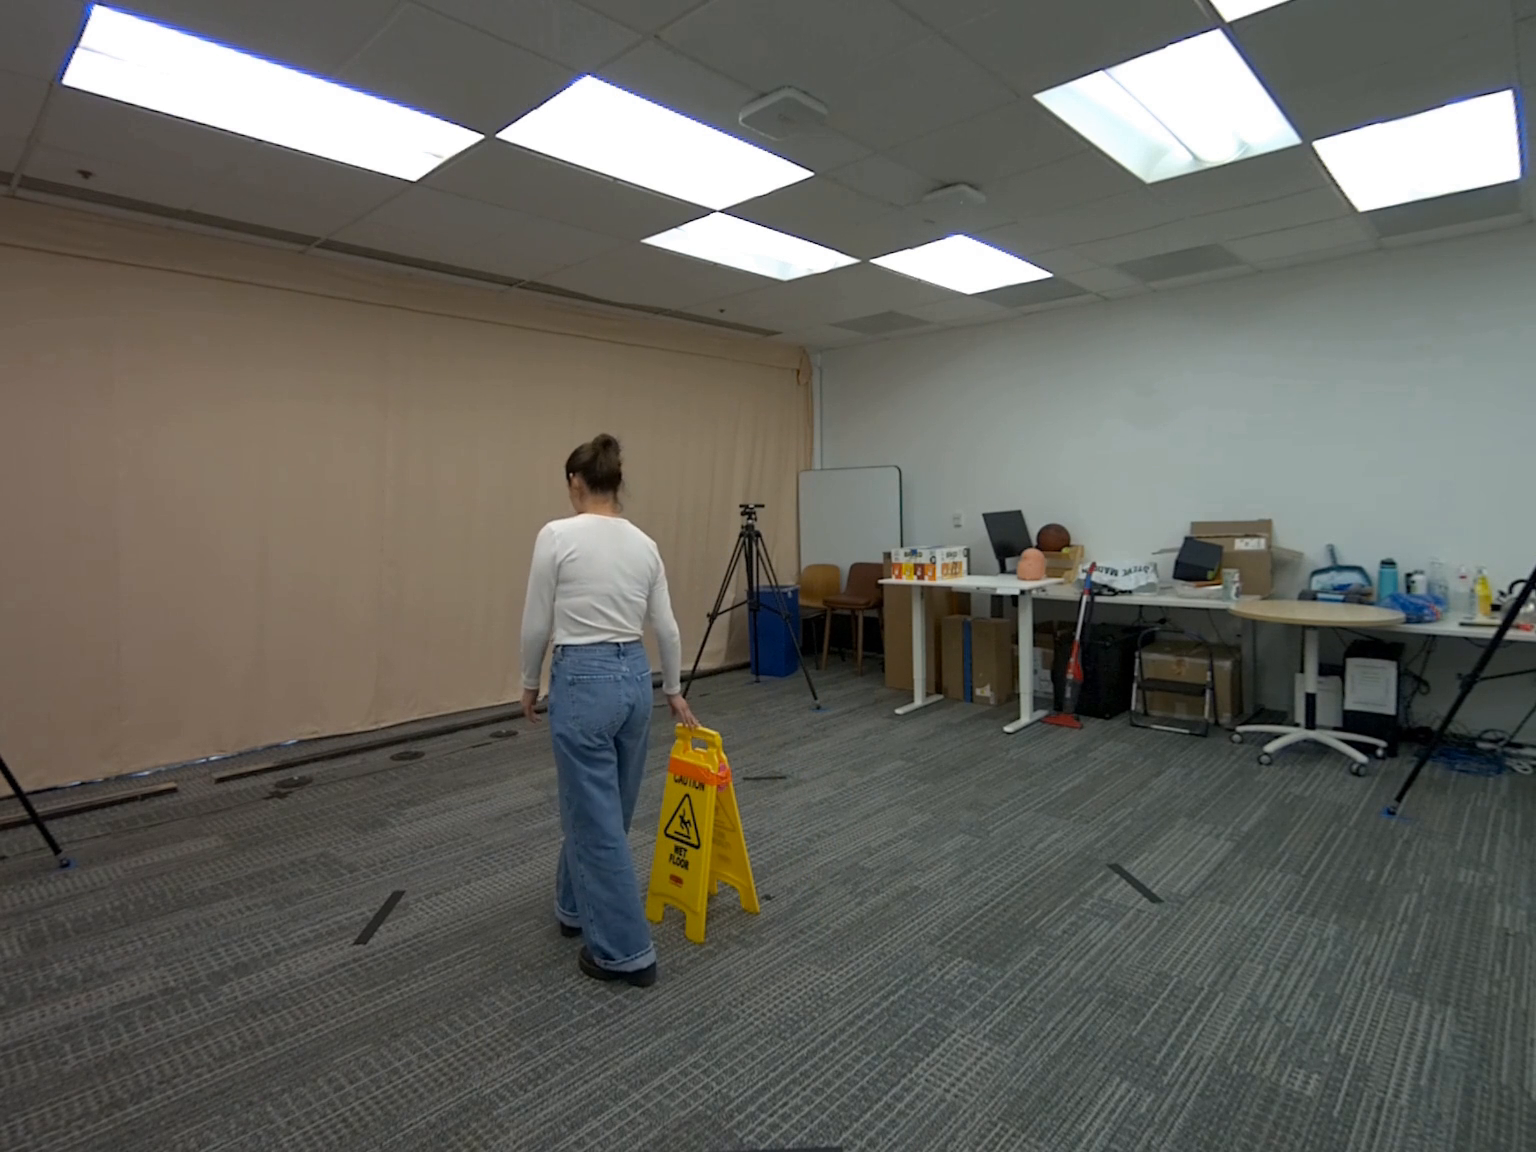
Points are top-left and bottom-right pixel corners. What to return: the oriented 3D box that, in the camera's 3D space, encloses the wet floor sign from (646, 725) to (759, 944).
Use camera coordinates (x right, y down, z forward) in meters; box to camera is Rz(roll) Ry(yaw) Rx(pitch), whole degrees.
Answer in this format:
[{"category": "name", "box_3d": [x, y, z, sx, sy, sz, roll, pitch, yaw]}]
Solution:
[{"category": "wet floor sign", "box_3d": [-0.229, 0.831, 2.846, 0.291, 0.645, 0.281, 1, 4, 43]}]
